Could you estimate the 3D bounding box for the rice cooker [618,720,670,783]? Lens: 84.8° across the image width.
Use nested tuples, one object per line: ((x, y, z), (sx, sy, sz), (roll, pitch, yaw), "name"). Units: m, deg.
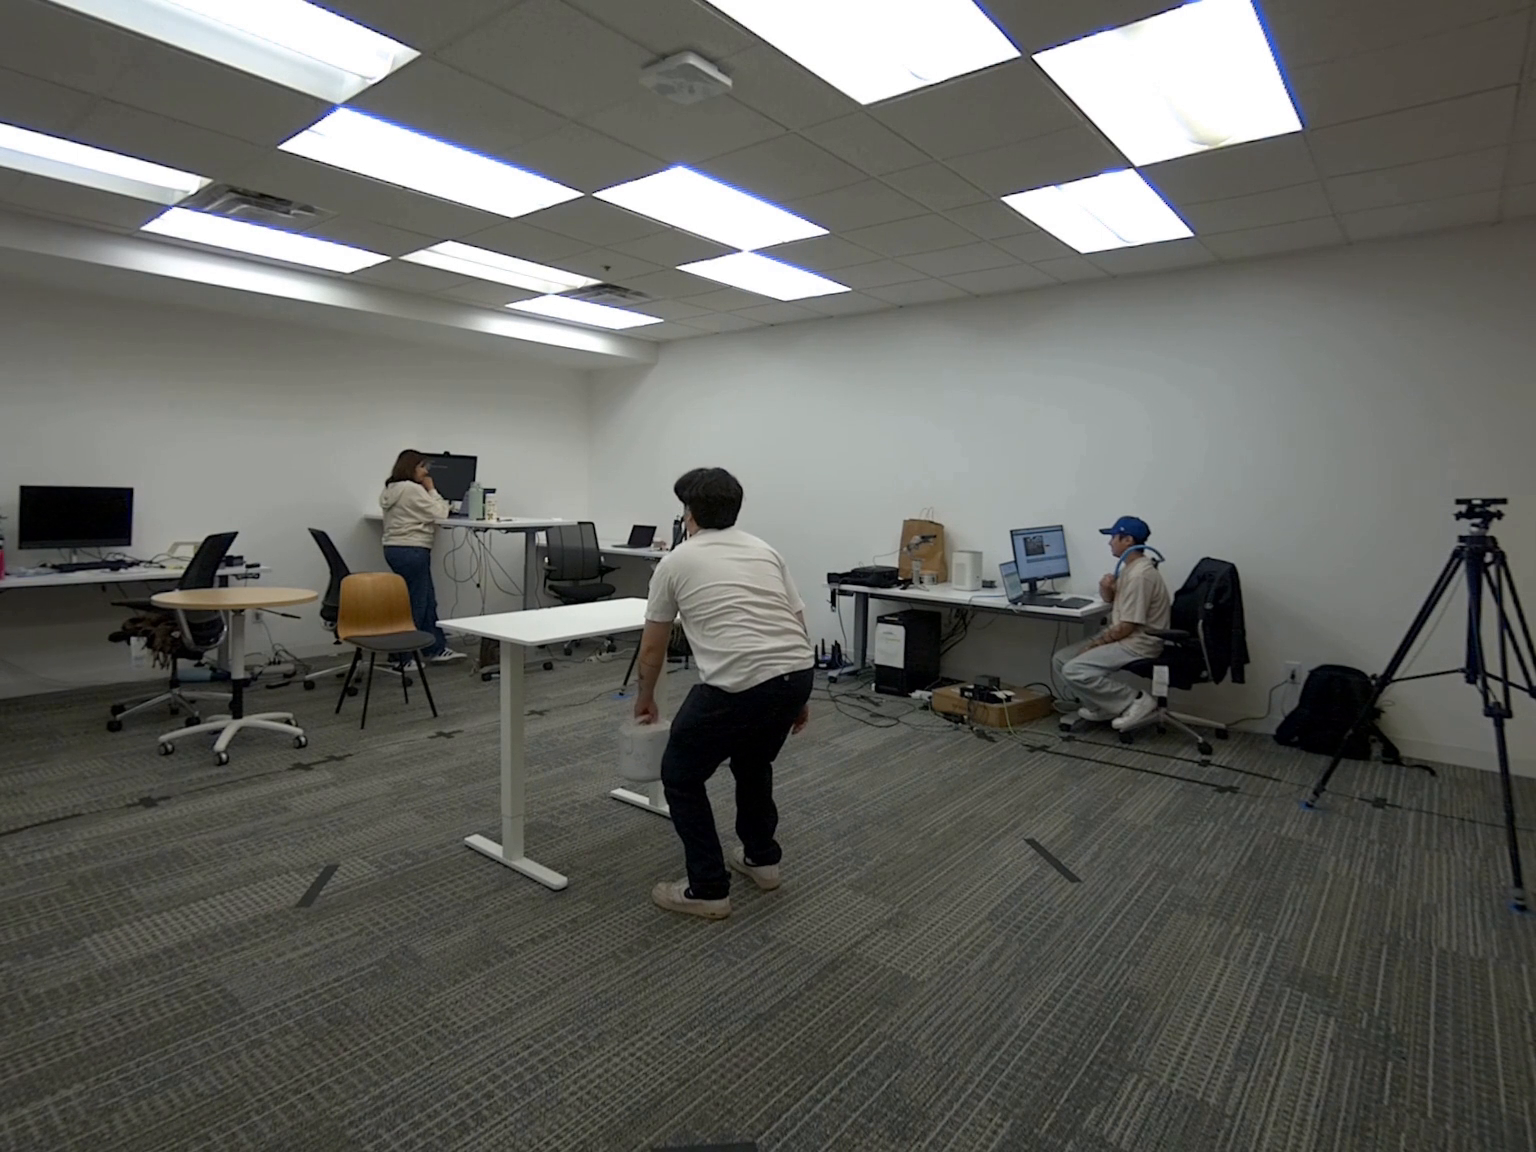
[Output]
((-0.455, 0.630, 3.146), (0.224, 0.233, 0.214), (-2, 1, 35), "rice cooker")
